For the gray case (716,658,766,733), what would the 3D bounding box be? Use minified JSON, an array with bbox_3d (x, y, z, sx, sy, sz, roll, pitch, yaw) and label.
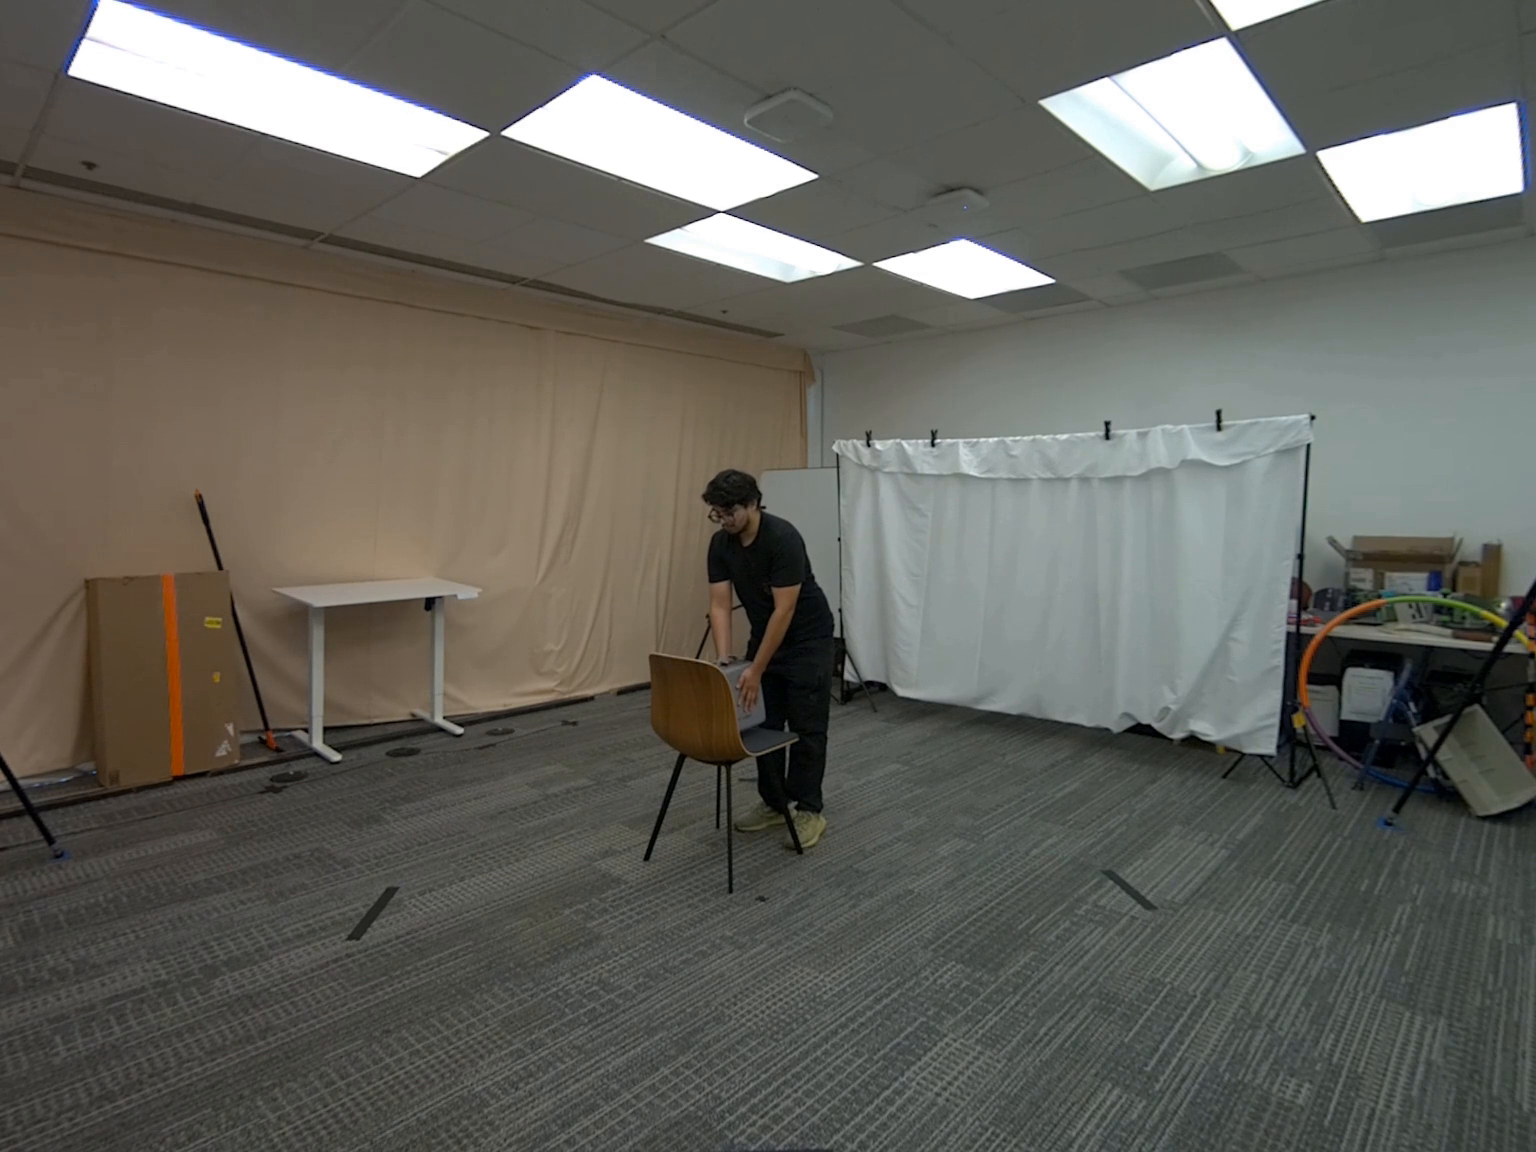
[{"bbox_3d":[-0.129,0.487,3.328,0.107,0.261,0.249,-13,-3,38],"label":"gray case"}]
